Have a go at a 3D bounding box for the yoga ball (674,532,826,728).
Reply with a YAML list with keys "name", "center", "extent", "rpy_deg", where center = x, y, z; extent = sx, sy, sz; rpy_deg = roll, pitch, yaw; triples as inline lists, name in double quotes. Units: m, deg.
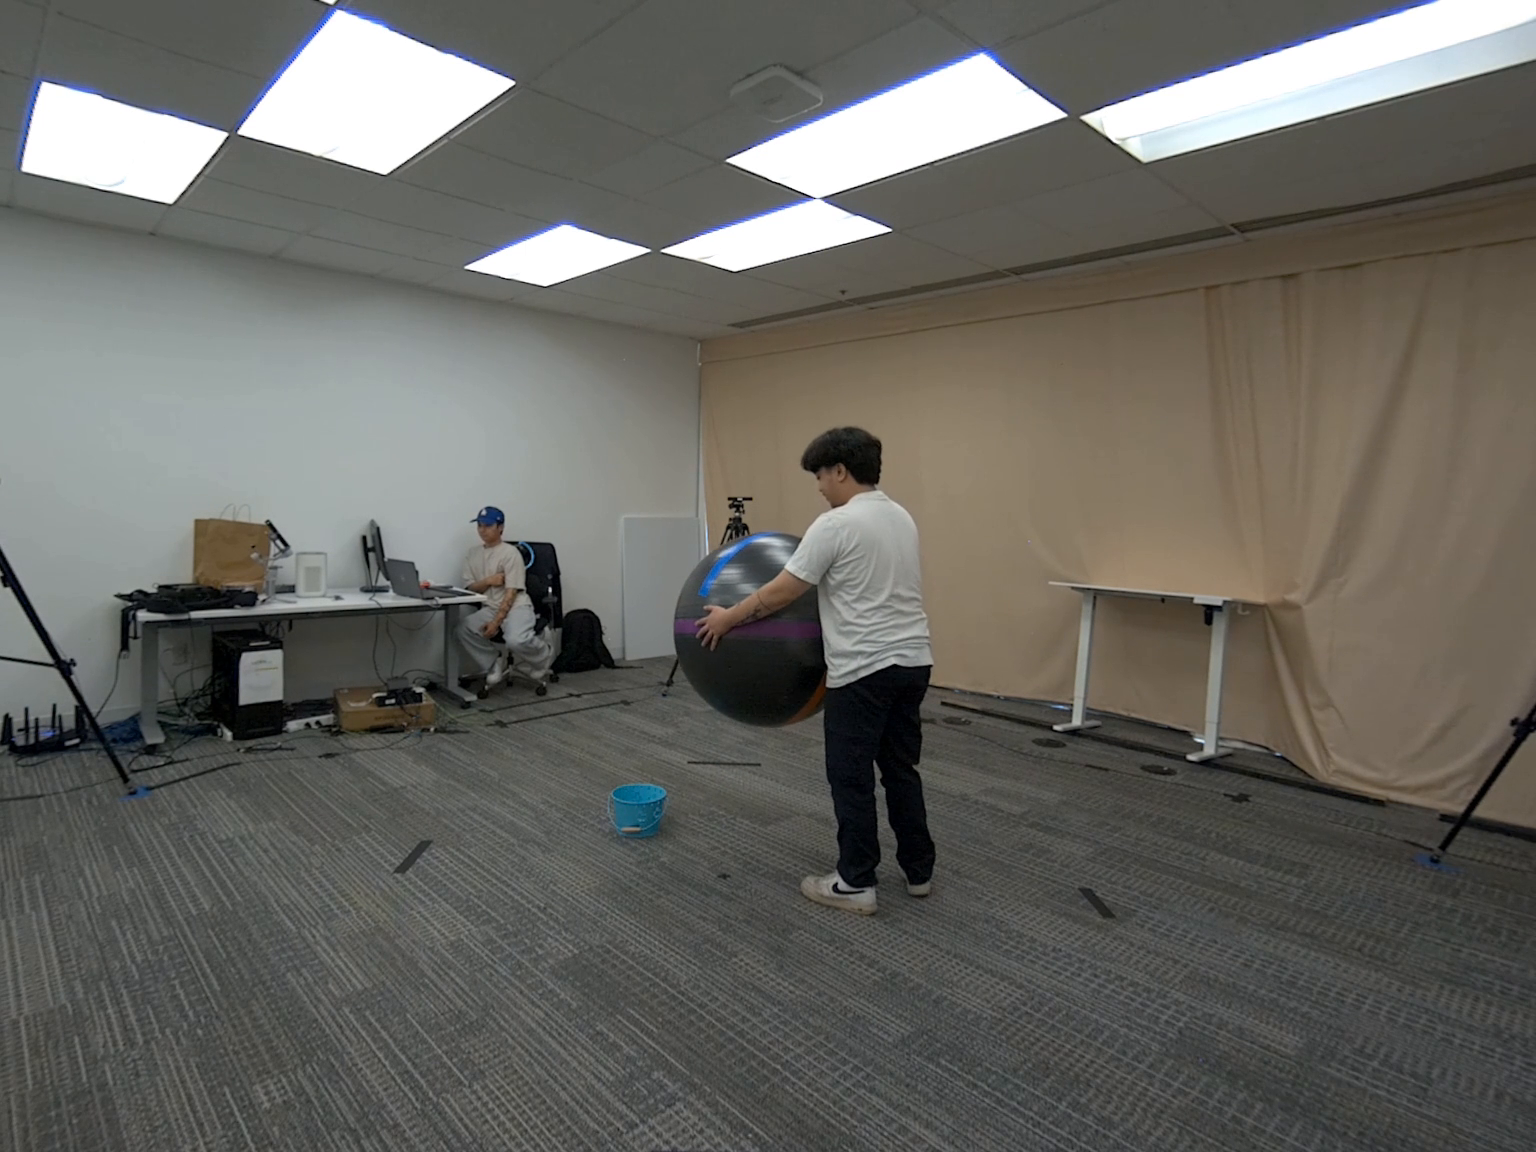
- name: "yoga ball"
  center: [0.006, 0.212, 3.348]
  extent: [0.757, 0.756, 0.761]
  rpy_deg: [1, 4, -1]
